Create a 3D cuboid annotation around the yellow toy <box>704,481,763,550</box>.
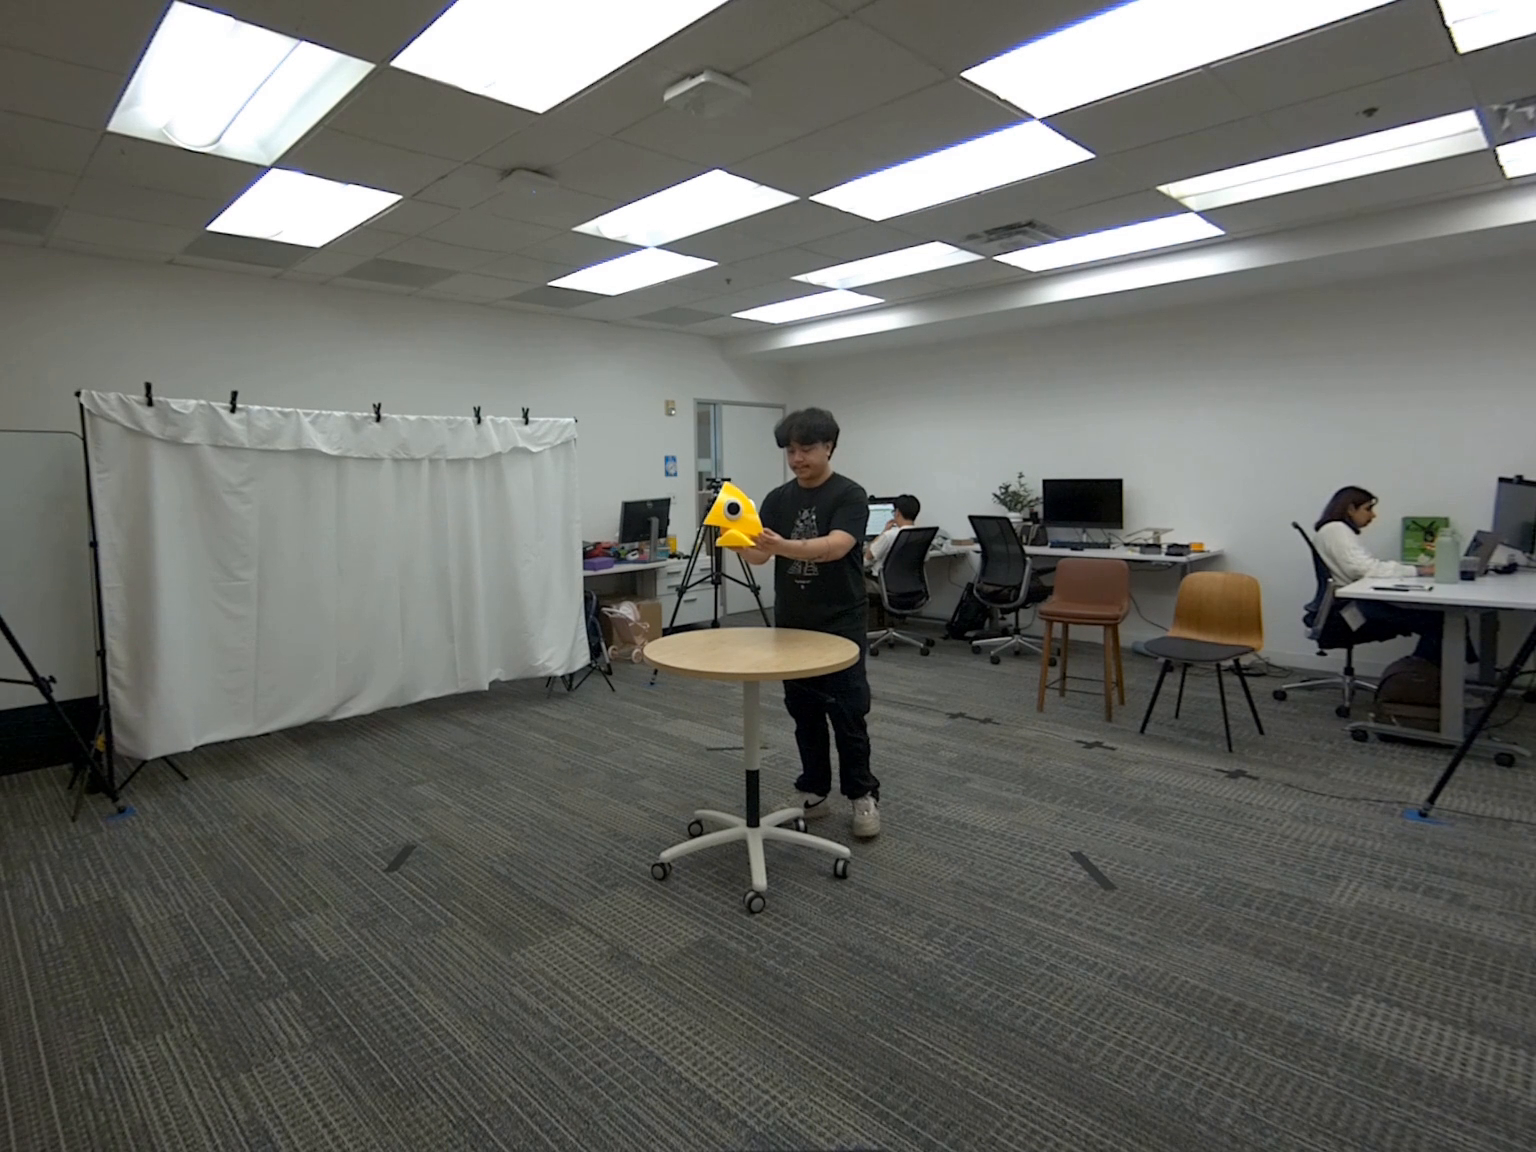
[{"bbox_3d":[-0.093,-0.225,3.020,0.198,0.231,0.199,-2,-1,32],"label":"yellow toy"}]
